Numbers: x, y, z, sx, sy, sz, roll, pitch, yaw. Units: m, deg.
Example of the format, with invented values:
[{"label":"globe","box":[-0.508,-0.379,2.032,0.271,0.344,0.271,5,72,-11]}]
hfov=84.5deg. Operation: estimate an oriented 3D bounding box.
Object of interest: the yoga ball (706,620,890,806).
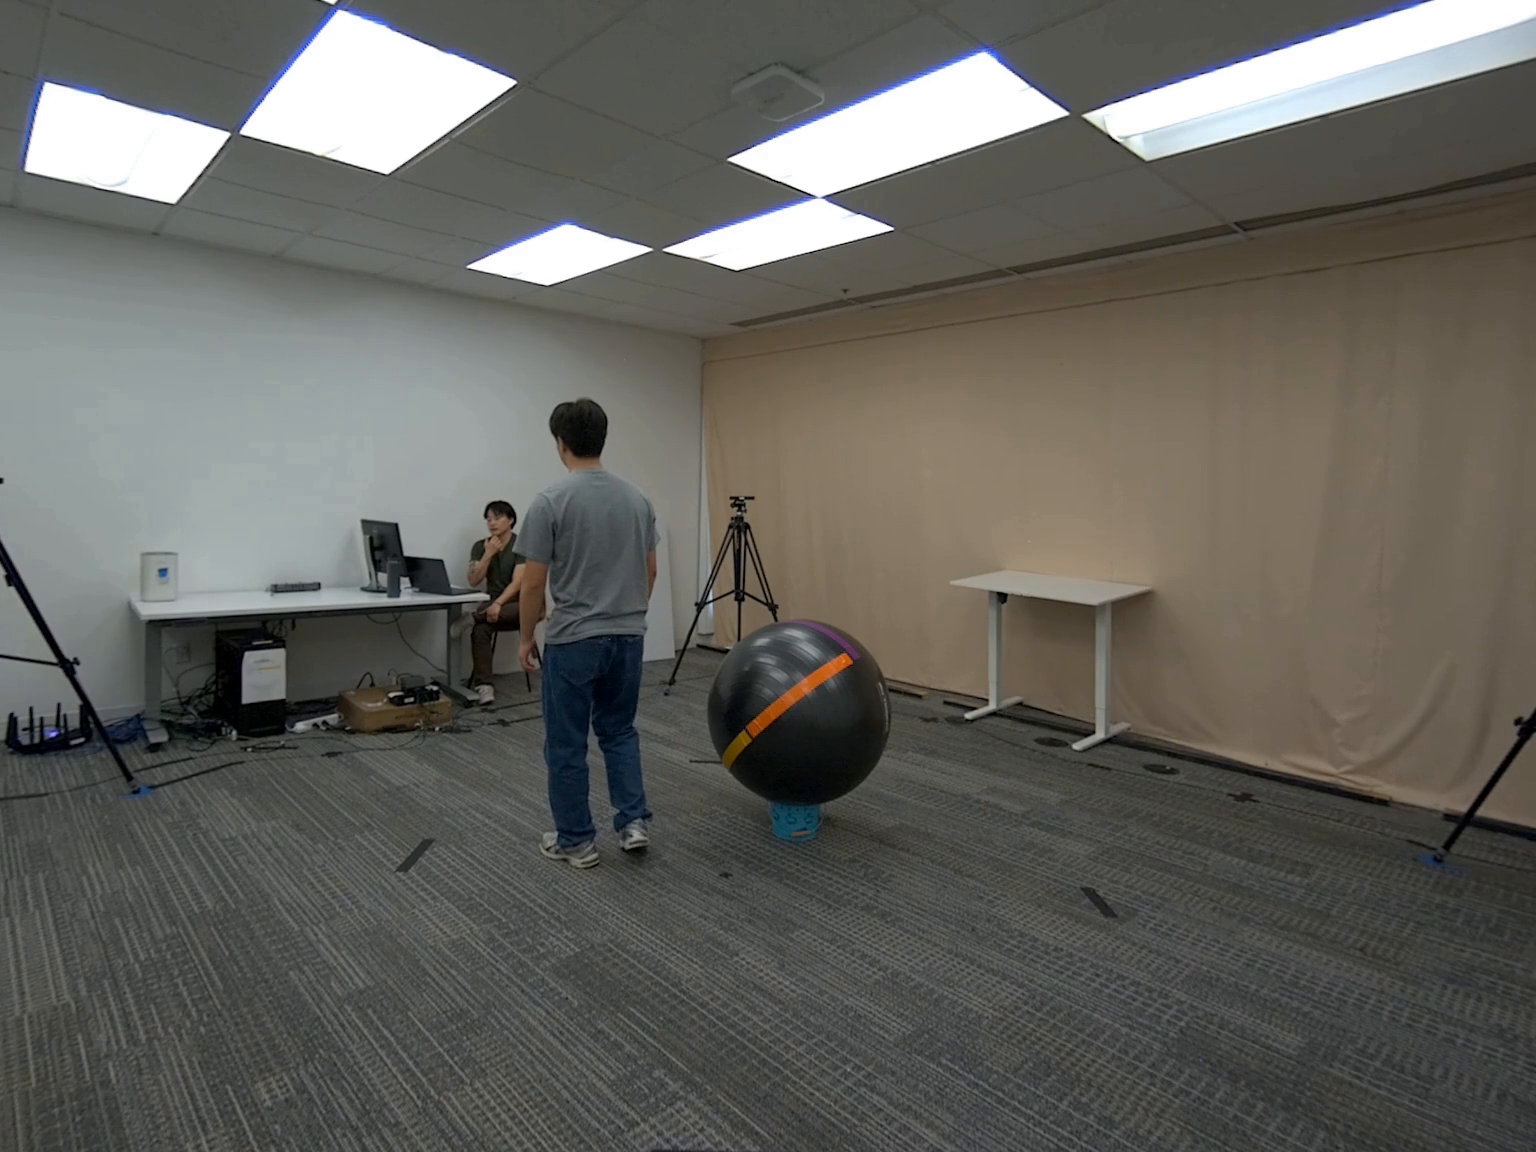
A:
[{"label":"yoga ball","box":[0.121,0.562,3.499,0.757,0.756,0.761,1,4,-1]}]
